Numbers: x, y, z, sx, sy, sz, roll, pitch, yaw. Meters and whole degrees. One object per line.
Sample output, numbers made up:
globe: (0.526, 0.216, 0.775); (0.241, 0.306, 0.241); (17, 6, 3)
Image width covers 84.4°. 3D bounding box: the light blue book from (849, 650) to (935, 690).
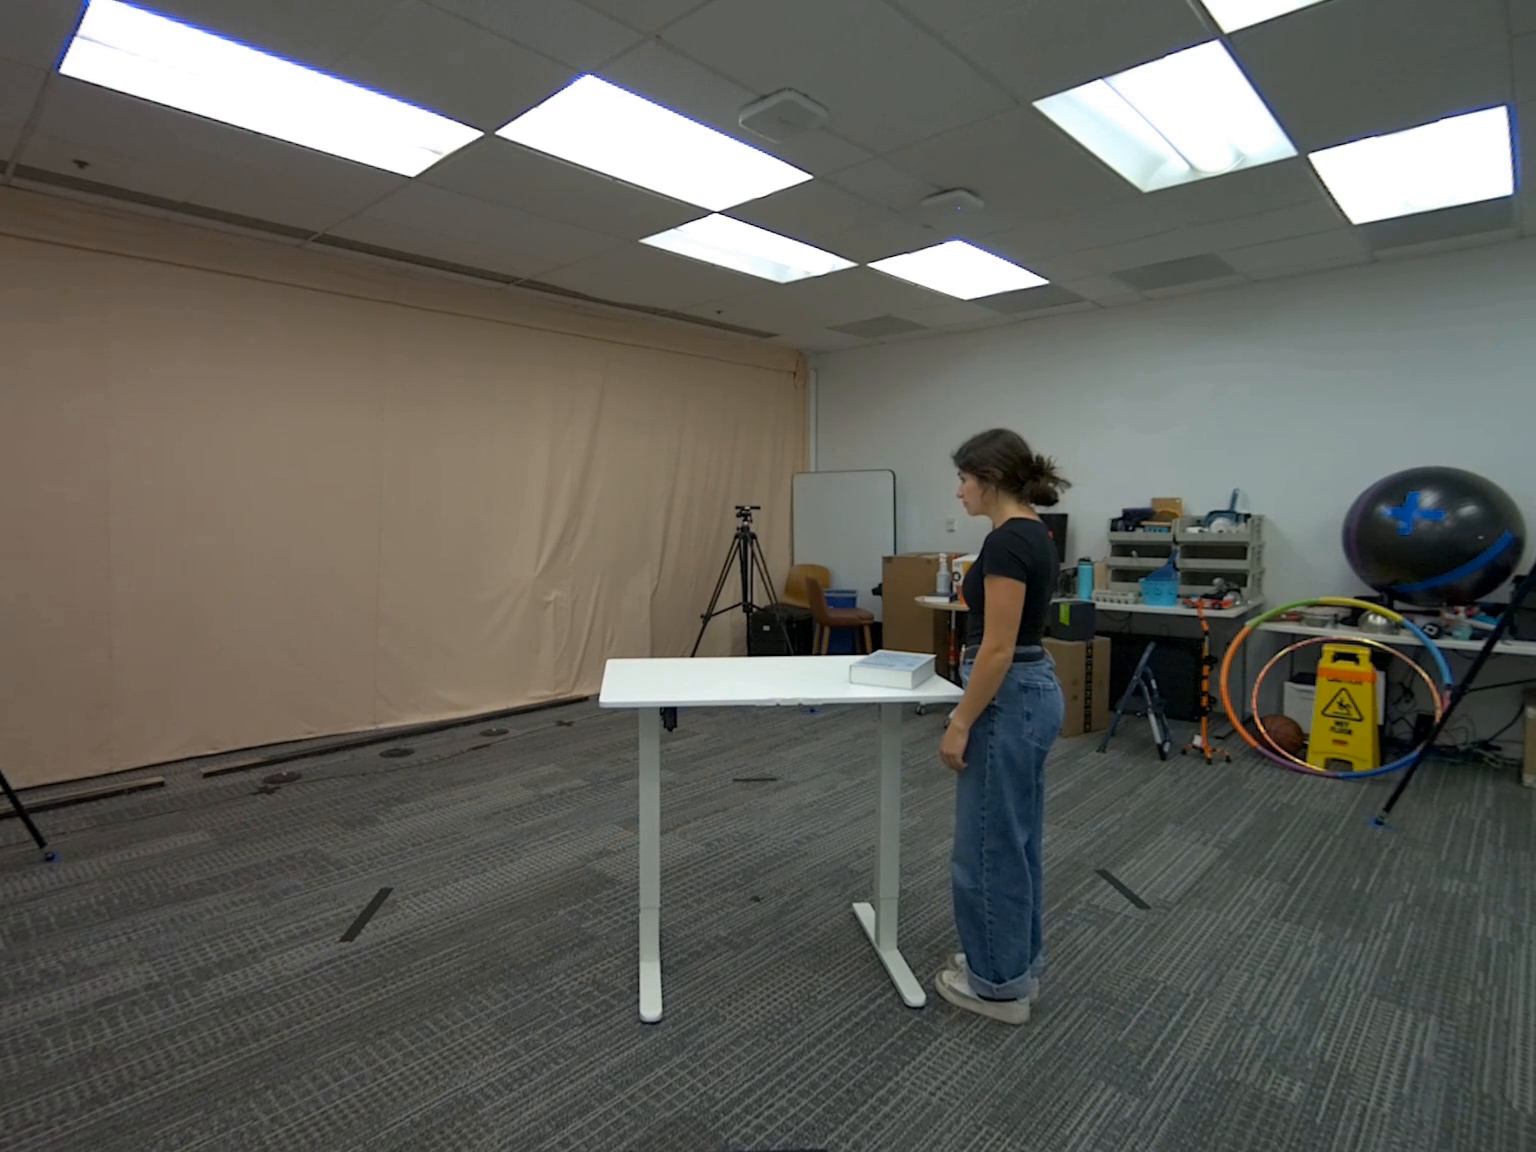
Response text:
light blue book: (0.381, 0.278, 2.489); (0.196, 0.059, 0.255); (3, 6, 25)
